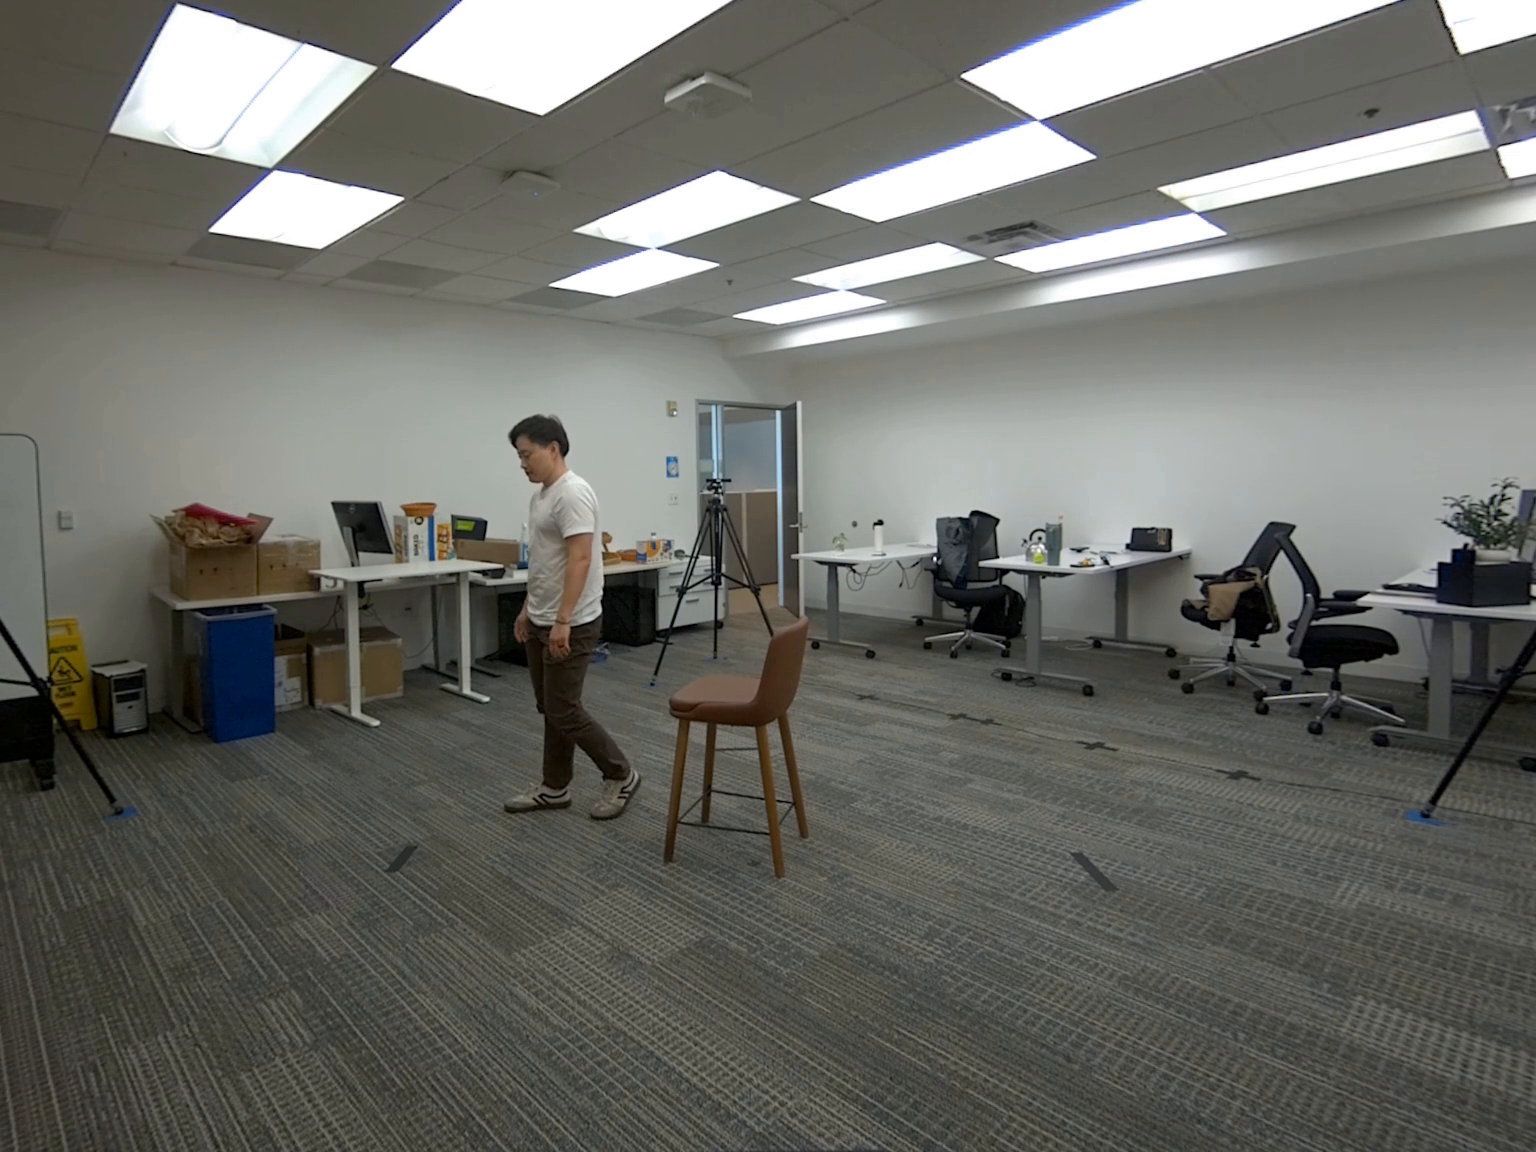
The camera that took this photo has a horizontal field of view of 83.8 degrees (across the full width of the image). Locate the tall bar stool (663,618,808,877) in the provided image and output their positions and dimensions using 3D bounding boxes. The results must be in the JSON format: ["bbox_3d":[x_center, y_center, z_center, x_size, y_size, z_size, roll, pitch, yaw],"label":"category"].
[{"bbox_3d":[-0.112,0.599,3.211,0.477,0.886,0.449,2,5,20],"label":"tall bar stool"}]
